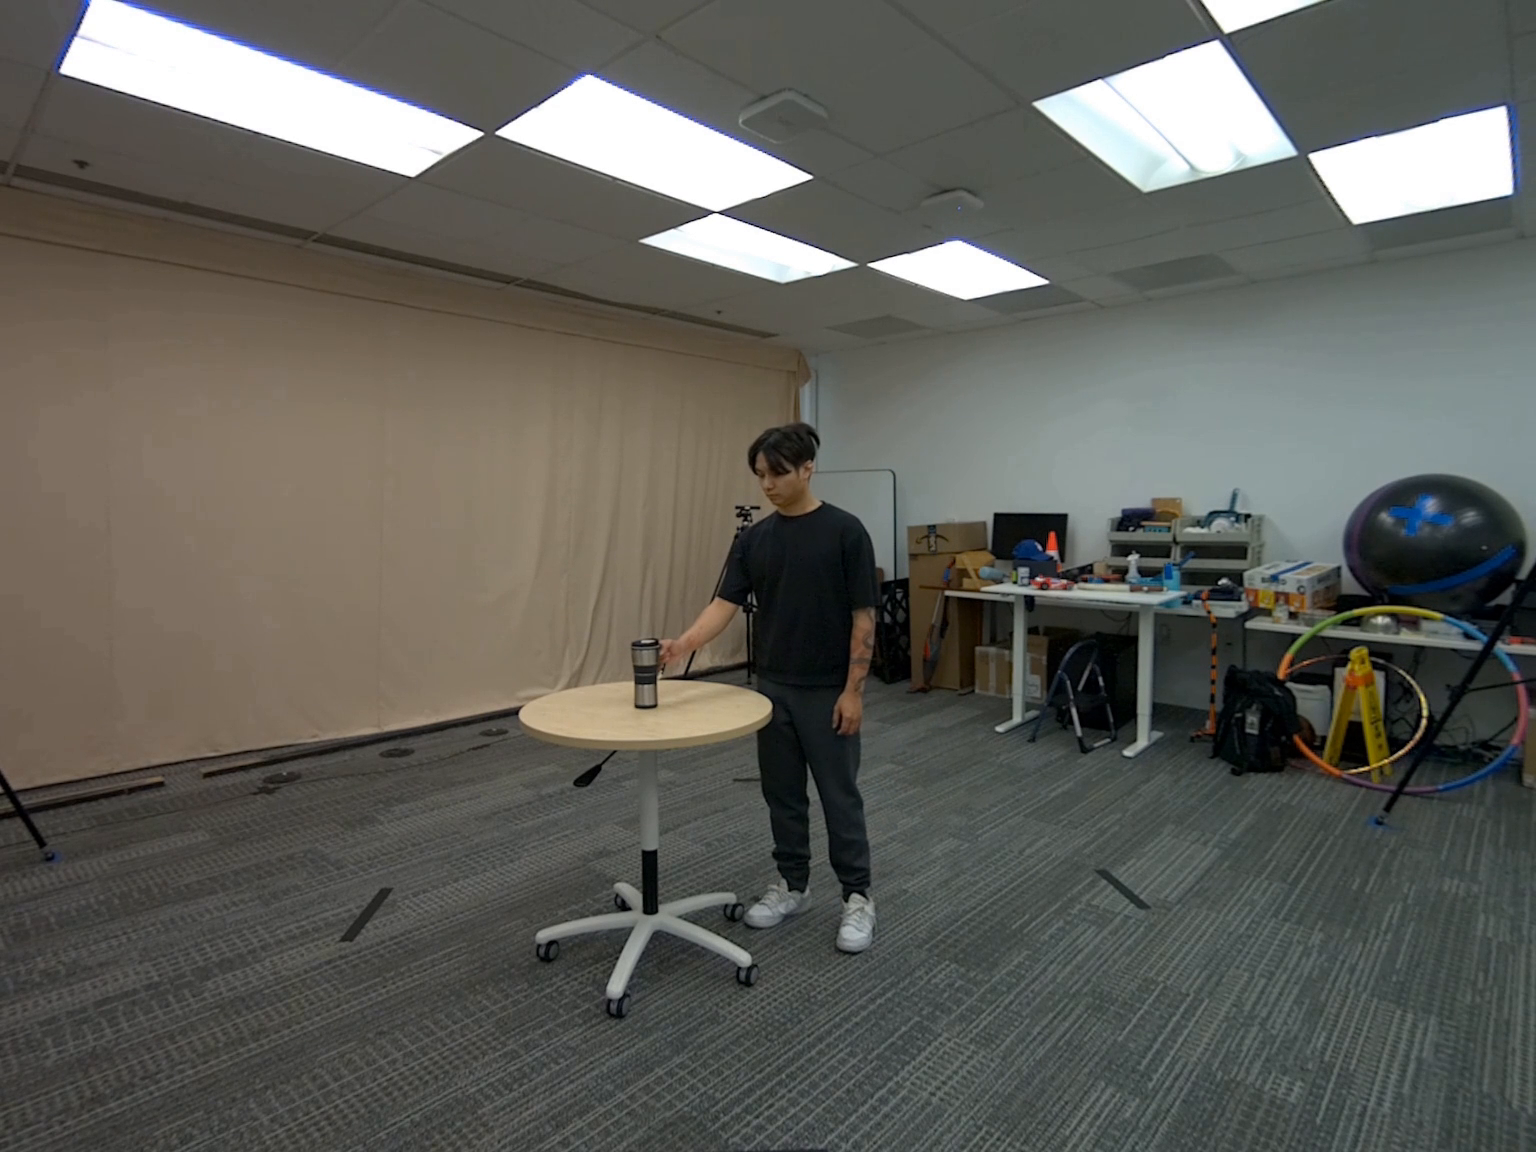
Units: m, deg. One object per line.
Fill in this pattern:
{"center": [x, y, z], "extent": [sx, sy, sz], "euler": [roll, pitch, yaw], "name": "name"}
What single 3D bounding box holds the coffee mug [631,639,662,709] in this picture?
{"center": [-0.352, 0.300, 2.570], "extent": [0.118, 0.203, 0.090], "euler": [-4, 0, -34], "name": "coffee mug"}
